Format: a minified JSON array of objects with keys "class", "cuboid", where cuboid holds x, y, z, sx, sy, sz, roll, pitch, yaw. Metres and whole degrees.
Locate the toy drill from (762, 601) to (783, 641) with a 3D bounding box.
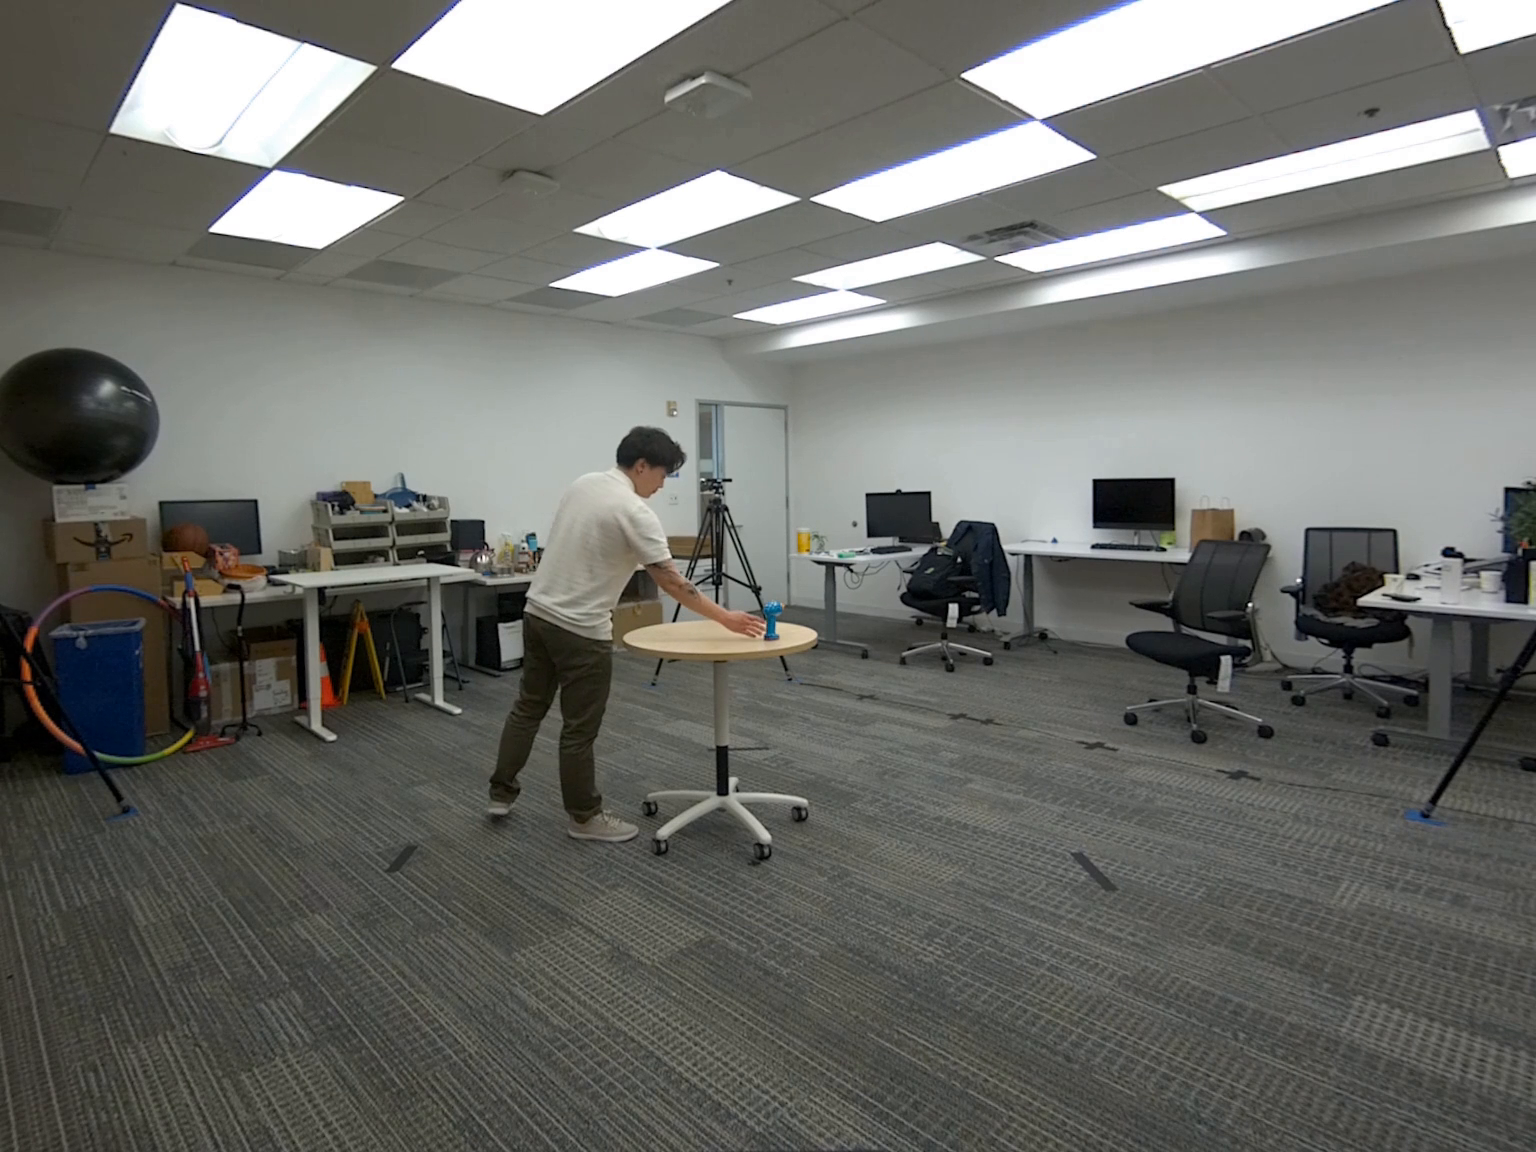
[{"class":"toy drill","cuboid":[0.023,0.161,3.292,0.062,0.146,0.166,0,3,23]}]
